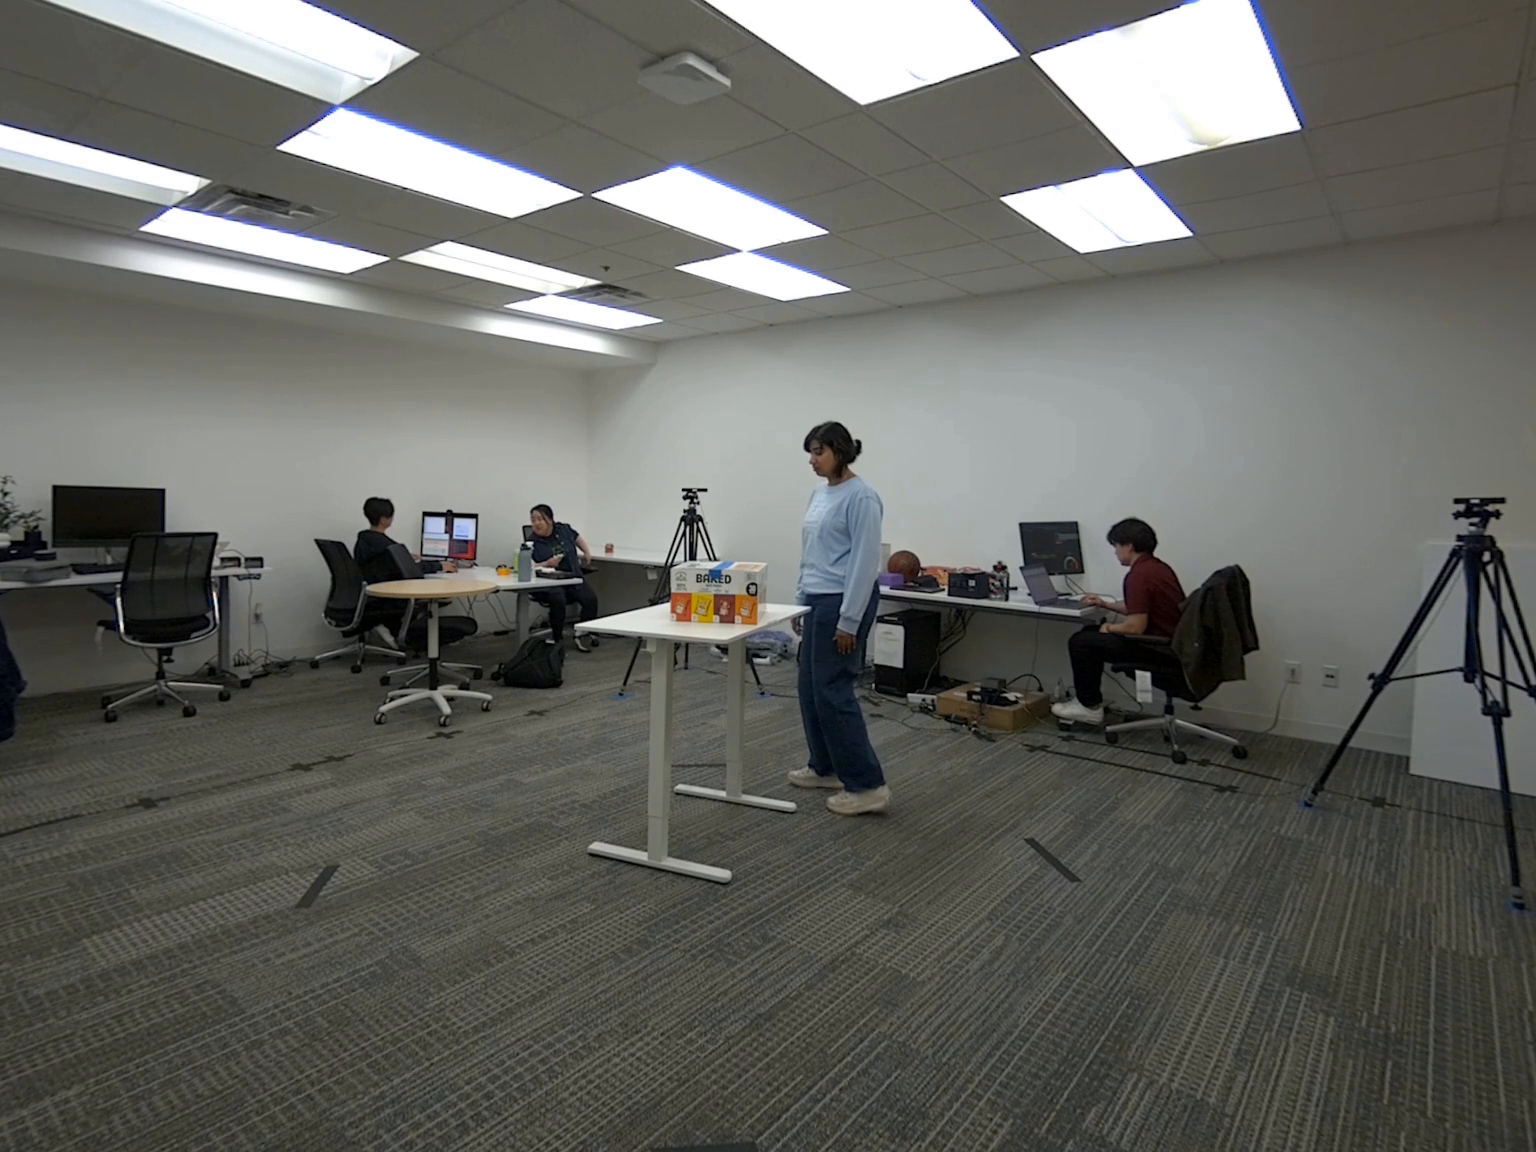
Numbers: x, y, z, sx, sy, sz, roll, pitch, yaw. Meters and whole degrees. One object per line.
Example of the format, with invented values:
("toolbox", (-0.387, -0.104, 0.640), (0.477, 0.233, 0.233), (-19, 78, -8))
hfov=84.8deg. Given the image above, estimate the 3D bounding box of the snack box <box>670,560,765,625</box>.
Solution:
("snack box", (-0.199, 0.055, 3.421), (0.343, 0.205, 0.403), (2, 5, 6))
